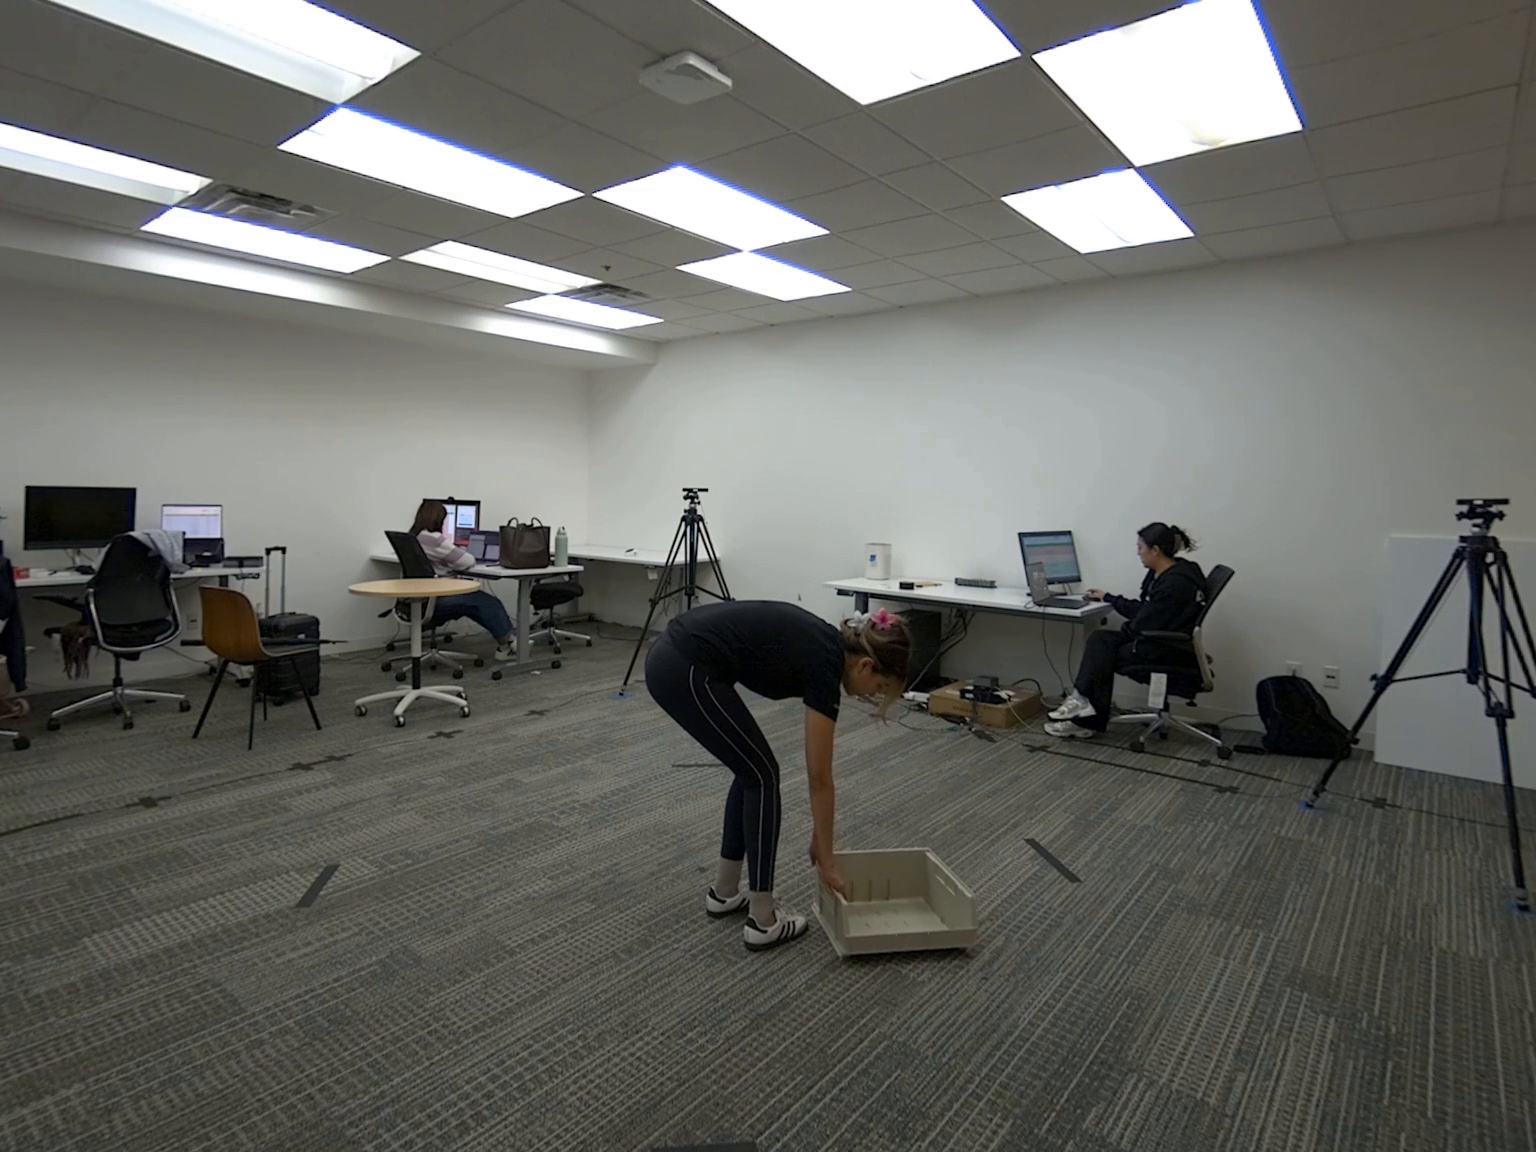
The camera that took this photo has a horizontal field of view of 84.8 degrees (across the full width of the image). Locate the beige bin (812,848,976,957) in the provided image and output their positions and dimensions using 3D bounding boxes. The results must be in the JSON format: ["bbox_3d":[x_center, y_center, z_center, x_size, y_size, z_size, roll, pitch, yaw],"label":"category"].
[{"bbox_3d":[0.386,1.035,2.698,0.417,0.188,0.383,-1,4,-12],"label":"beige bin"}]
